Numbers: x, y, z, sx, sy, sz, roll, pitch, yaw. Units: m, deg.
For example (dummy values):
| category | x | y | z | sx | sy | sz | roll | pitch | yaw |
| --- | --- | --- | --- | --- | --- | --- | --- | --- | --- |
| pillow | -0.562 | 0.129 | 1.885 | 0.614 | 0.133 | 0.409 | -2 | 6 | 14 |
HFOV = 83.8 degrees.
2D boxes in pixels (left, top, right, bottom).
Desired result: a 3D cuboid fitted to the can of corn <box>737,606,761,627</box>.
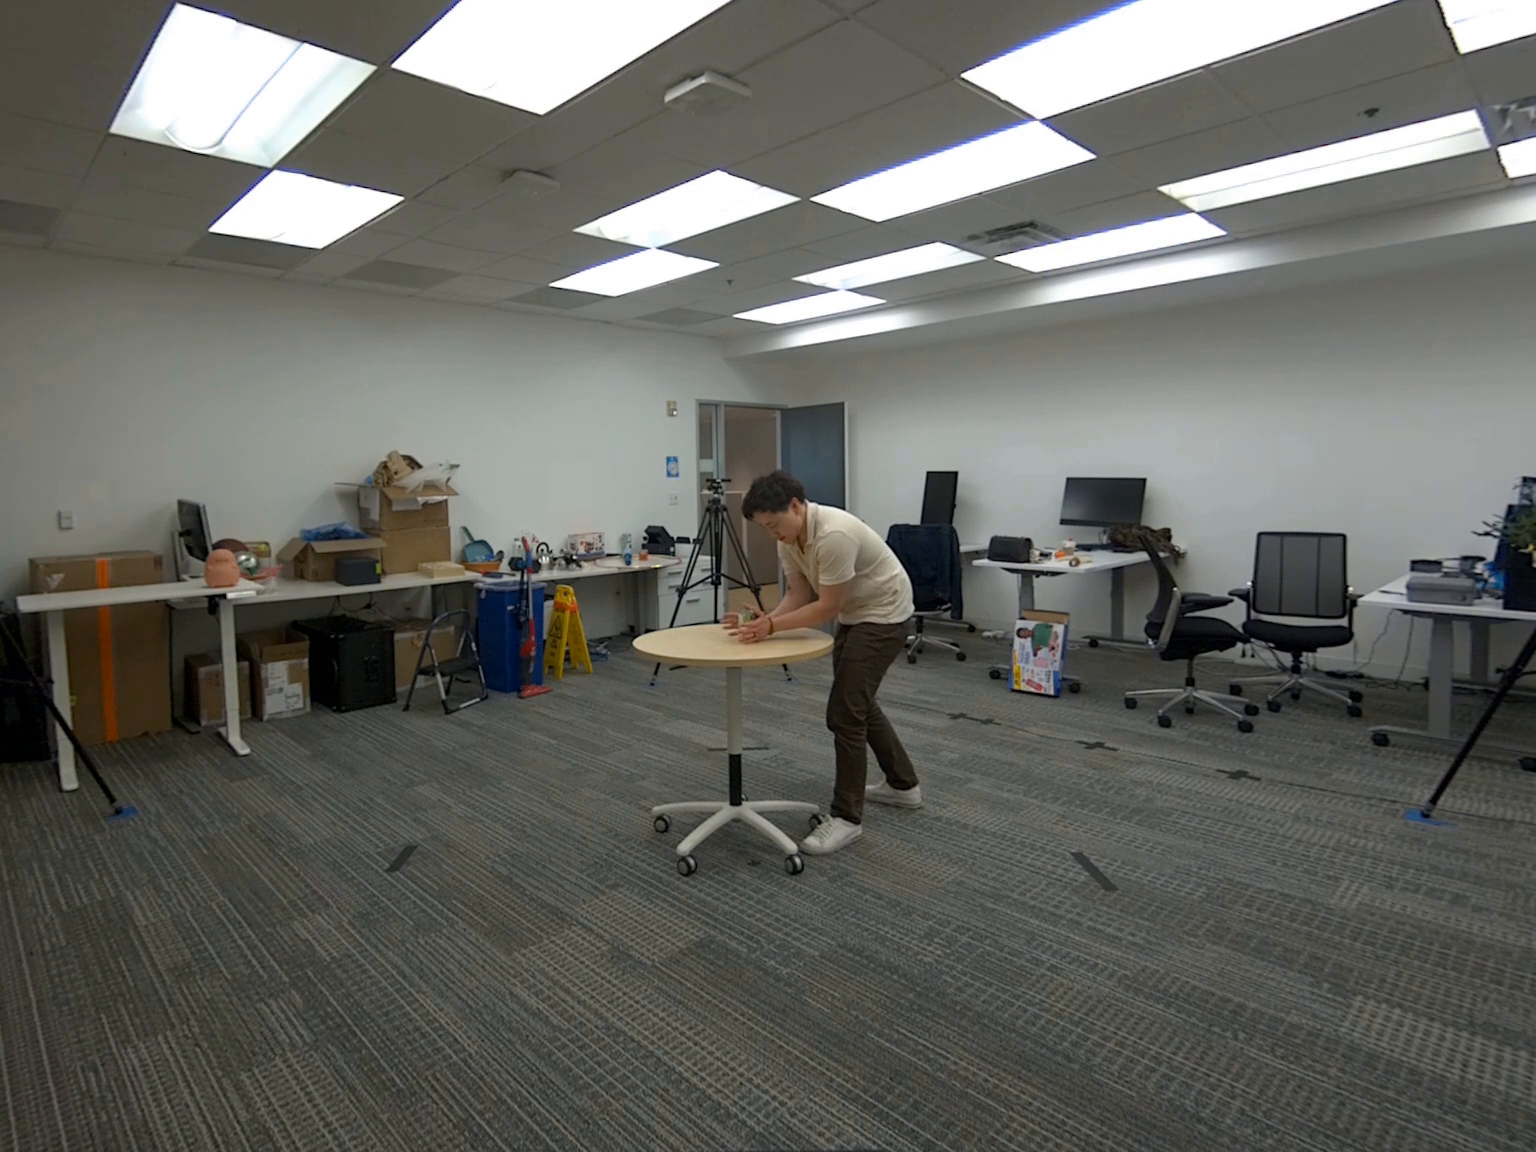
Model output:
| category | x | y | z | sx | sy | sz | roll | pitch | yaw |
| --- | --- | --- | --- | --- | --- | --- | --- | --- | --- |
| can of corn | -0.063 | 0.192 | 3.238 | 0.074 | 0.111 | 0.074 | 3 | 2 | -2 |
